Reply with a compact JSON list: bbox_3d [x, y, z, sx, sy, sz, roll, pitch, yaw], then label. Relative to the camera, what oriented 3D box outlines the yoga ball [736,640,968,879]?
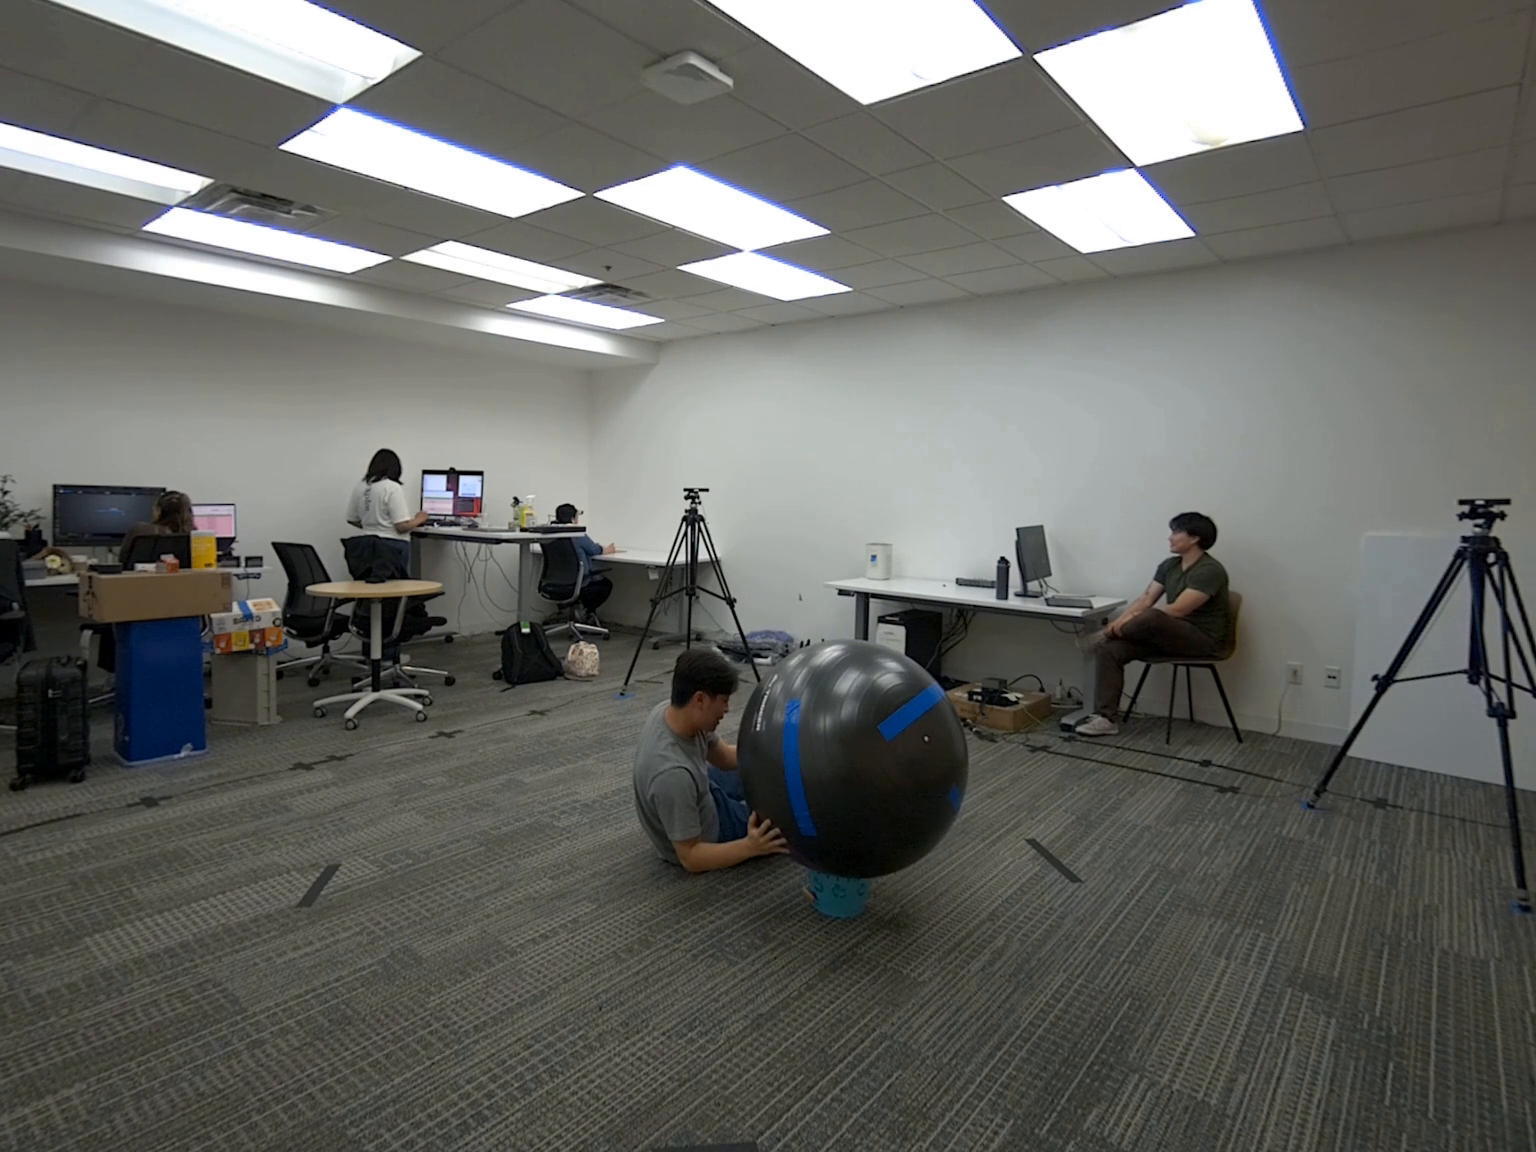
[{"bbox_3d":[0.263,0.596,2.830,0.757,0.756,0.762,1,4,-2],"label":"yoga ball"}]
